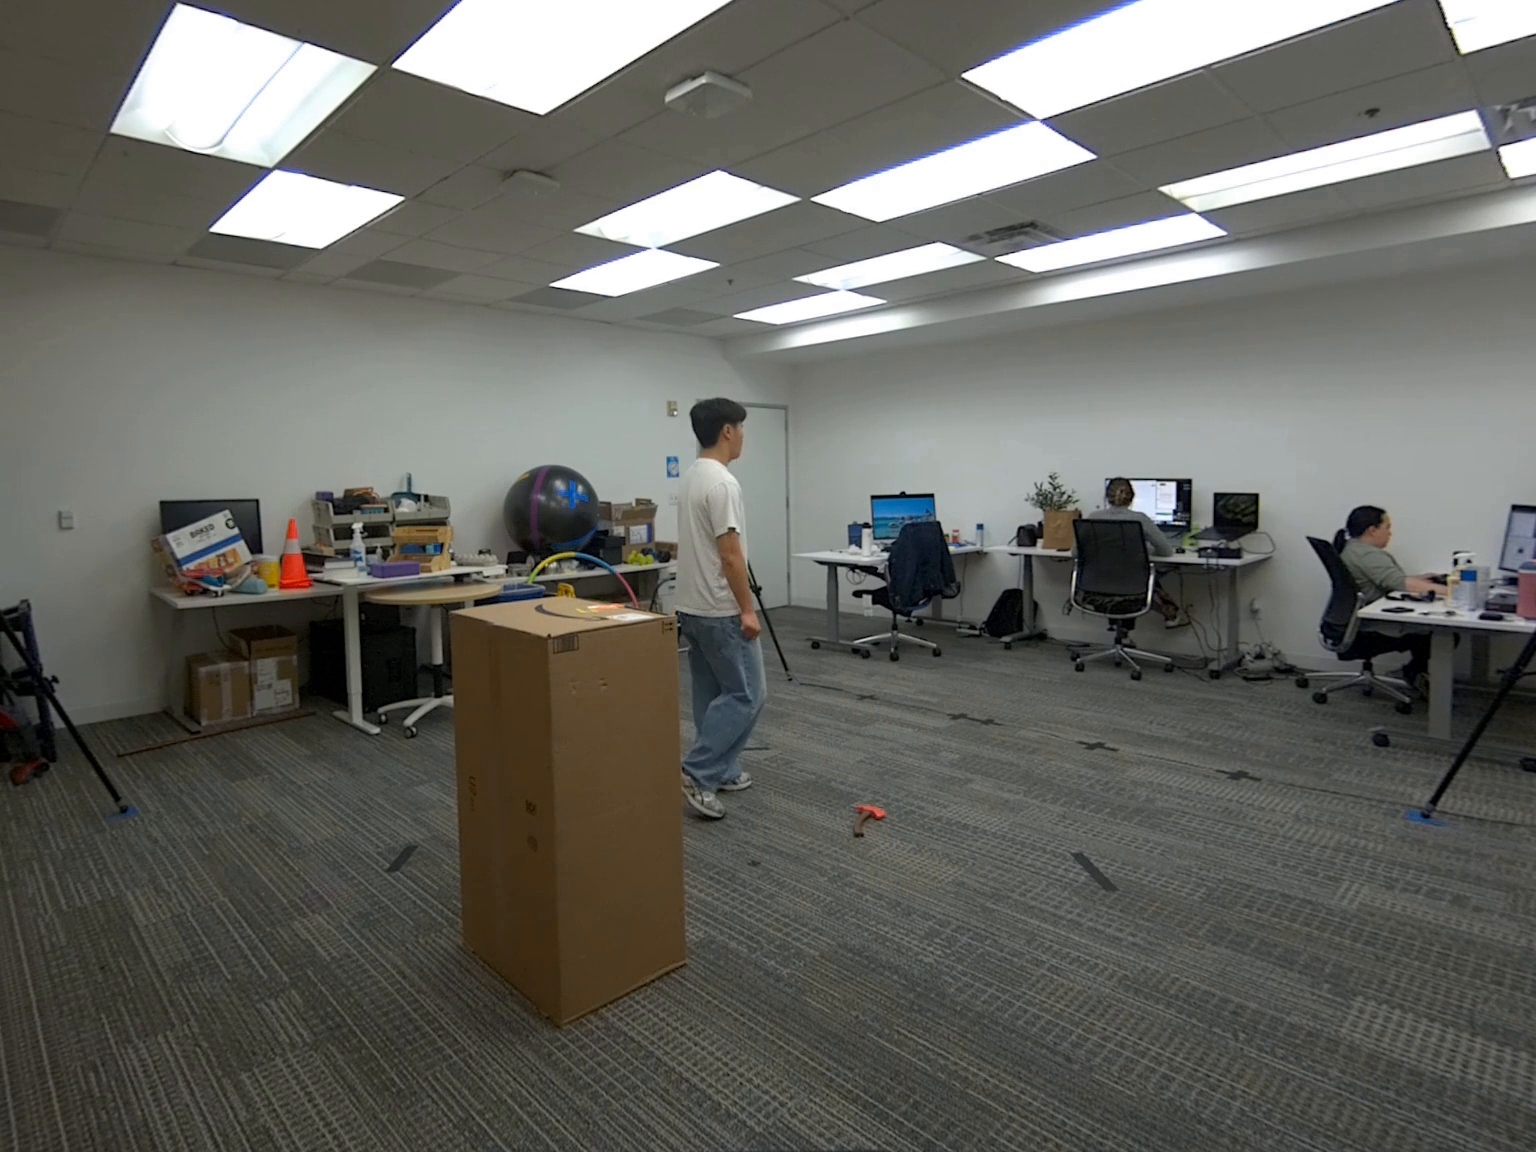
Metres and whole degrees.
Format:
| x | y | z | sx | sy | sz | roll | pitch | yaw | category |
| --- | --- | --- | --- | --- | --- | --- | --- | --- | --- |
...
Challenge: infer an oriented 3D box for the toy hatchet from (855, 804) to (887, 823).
| x | y | z | sx | sy | sz | roll | pitch | yaw | category |
| --- | --- | --- | --- | --- | --- | --- | --- | --- | --- |
| 0.415 | 0.988 | 3.437 | 0.132 | 0.029 | 0.269 | 1 | 8 | 7 | toy hatchet |
